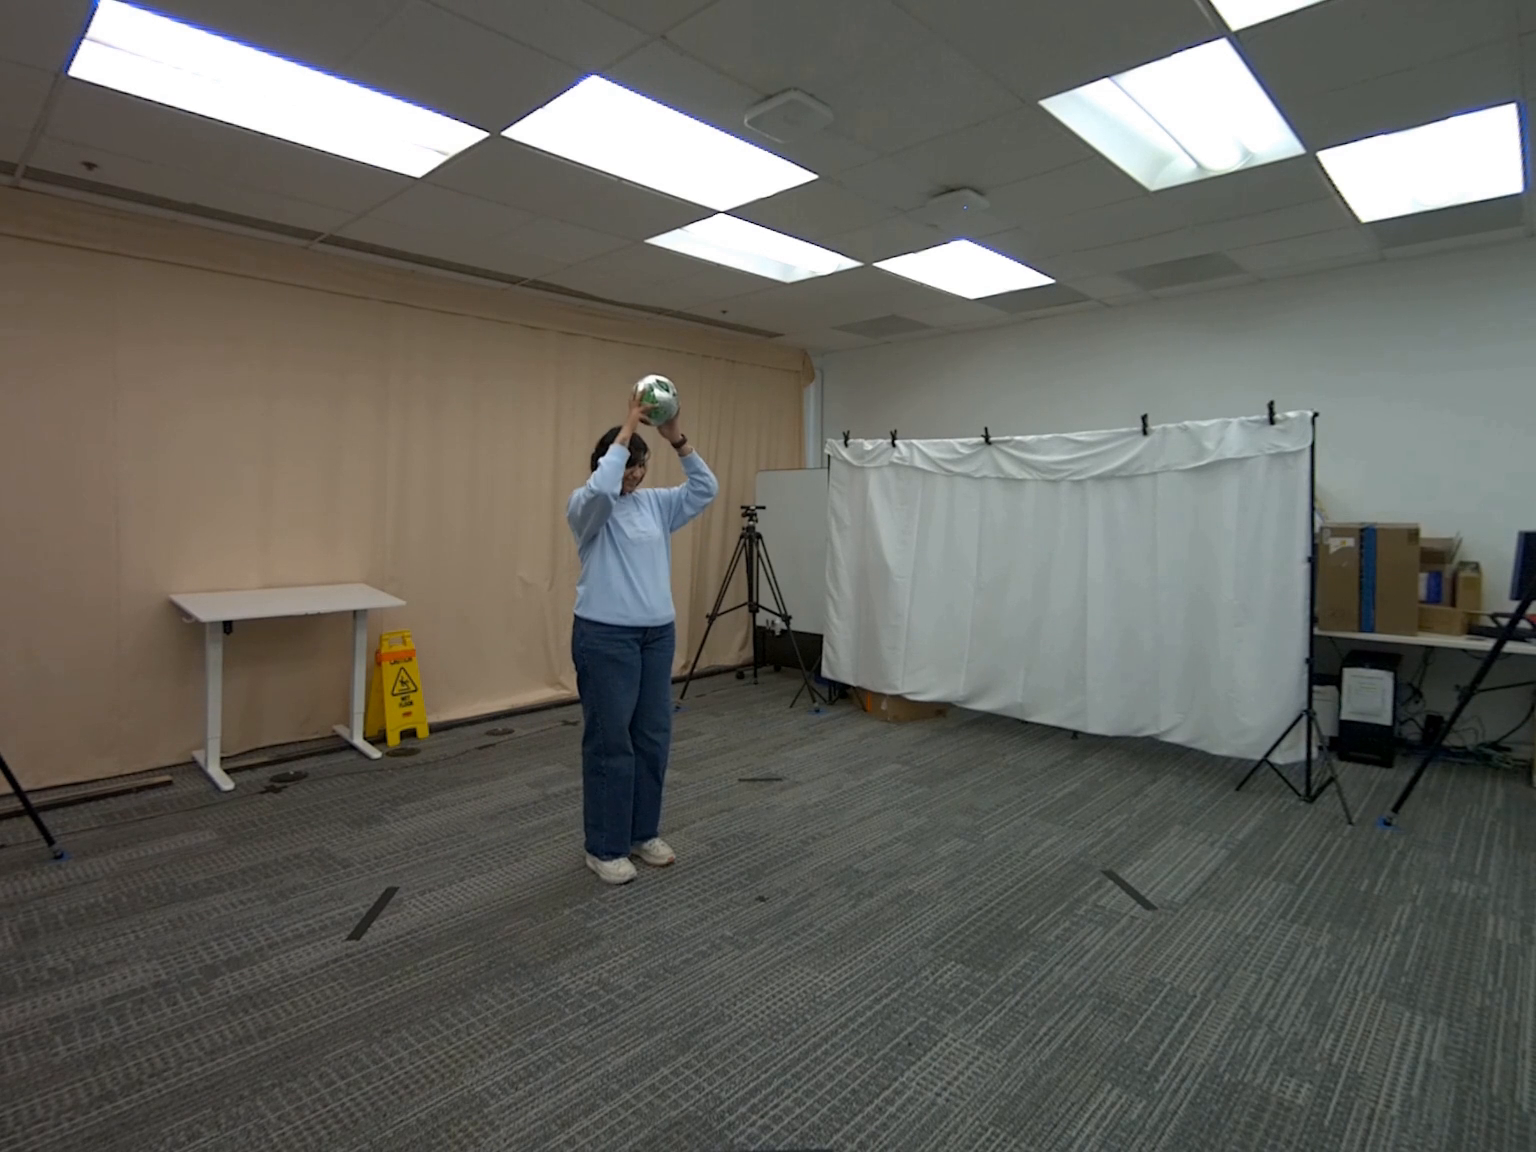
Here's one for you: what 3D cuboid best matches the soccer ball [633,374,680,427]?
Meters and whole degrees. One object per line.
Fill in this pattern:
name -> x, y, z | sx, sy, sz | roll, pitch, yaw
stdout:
soccer ball -> -0.419, -0.638, 3.115 | 0.187, 0.187, 0.188 | 0, 4, -2
